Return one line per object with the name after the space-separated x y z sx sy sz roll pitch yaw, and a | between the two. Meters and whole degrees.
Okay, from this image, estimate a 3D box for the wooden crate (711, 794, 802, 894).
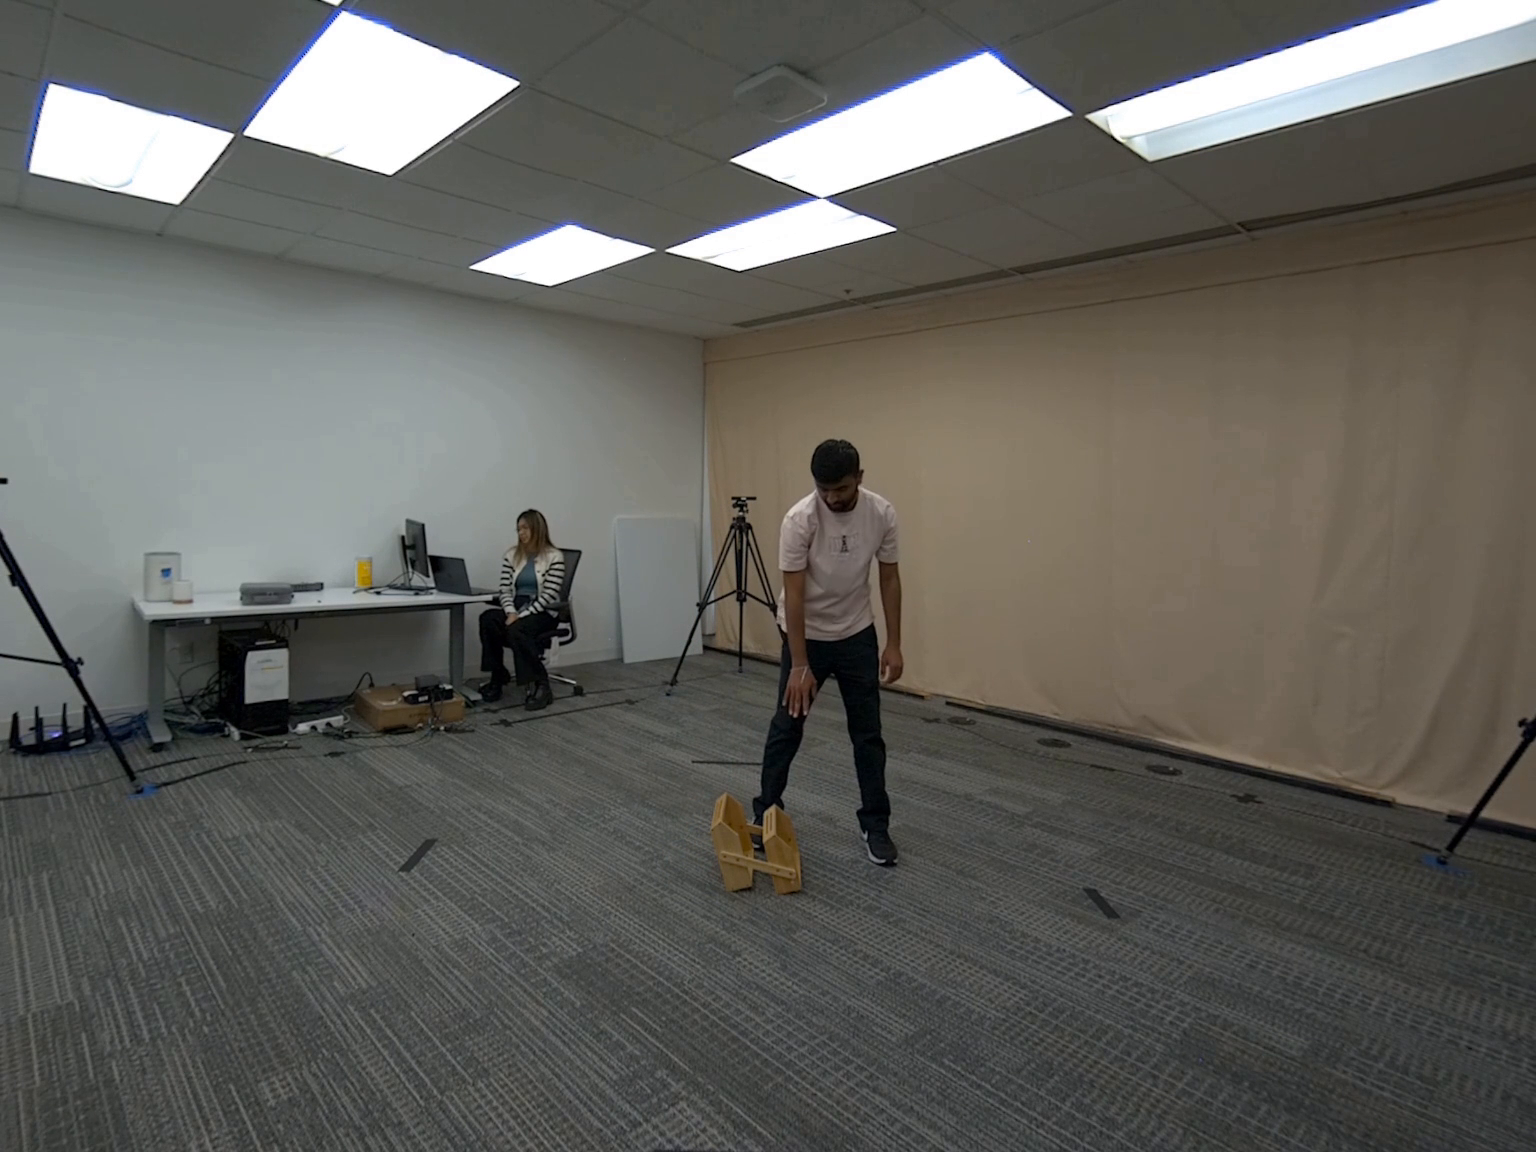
-0.045 0.974 3.110 0.274 0.301 0.325 -15 3 3 | wooden crate
